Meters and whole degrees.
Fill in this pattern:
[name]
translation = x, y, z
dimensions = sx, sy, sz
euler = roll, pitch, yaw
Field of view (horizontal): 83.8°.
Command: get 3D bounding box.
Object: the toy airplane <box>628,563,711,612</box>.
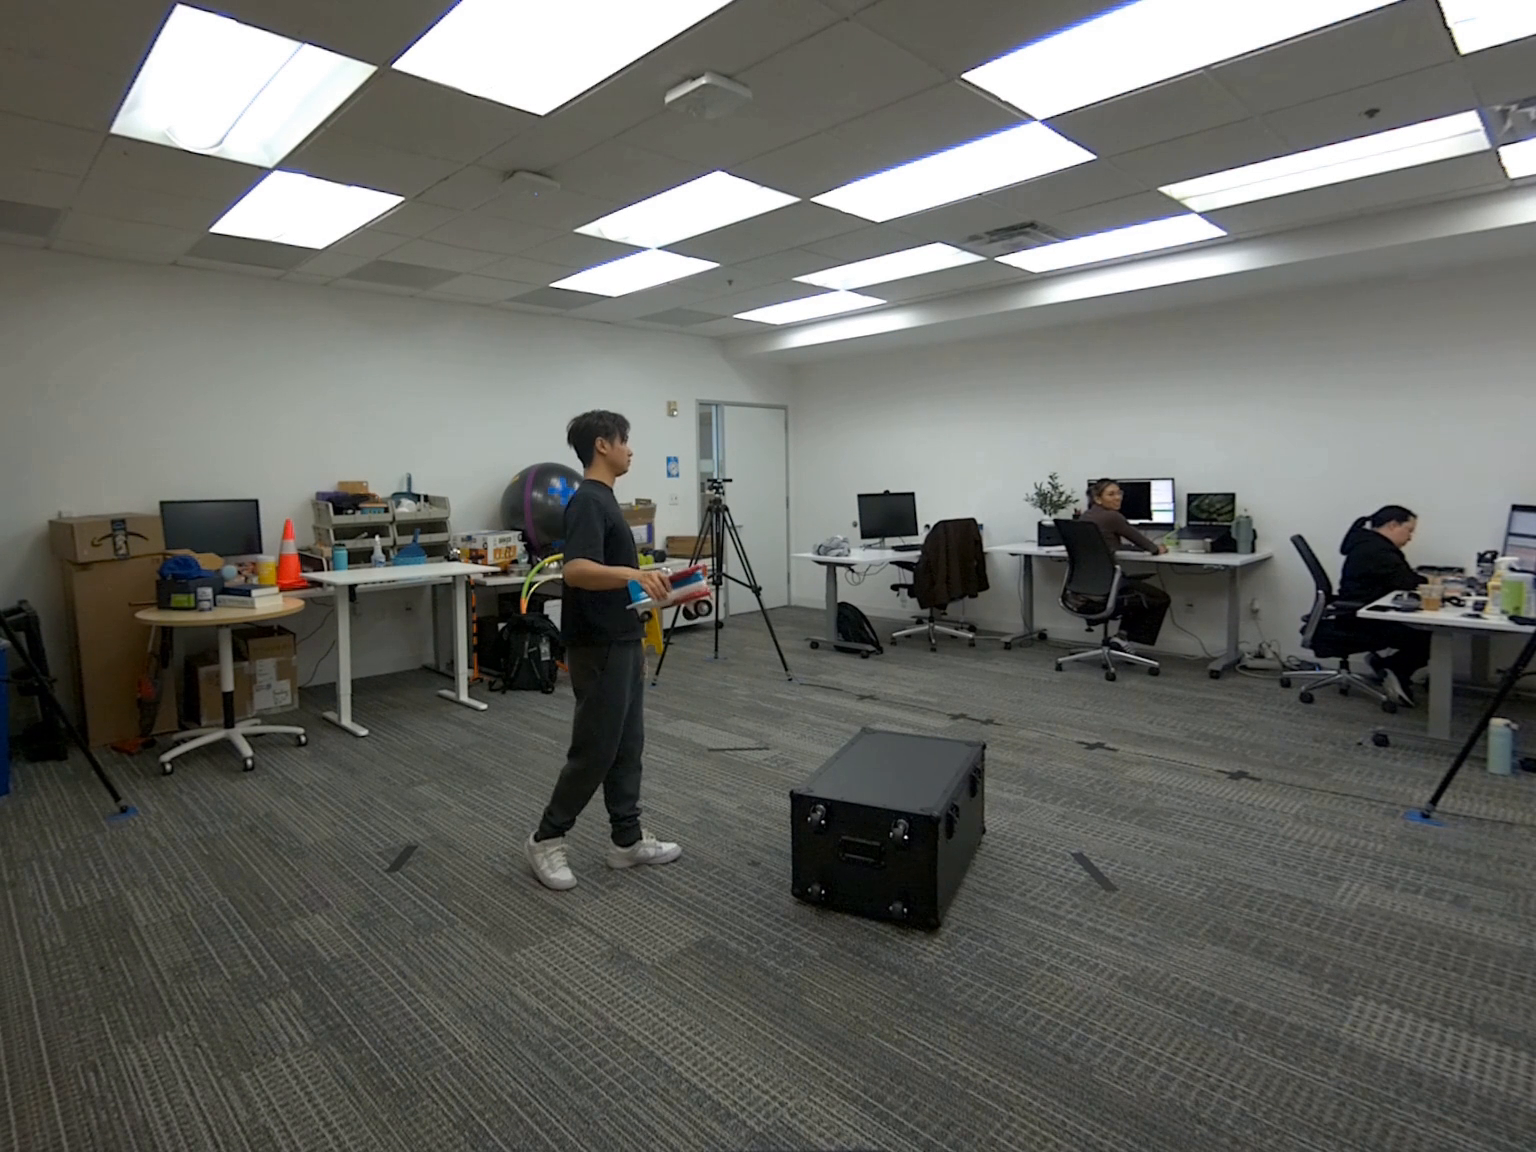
[toy airplane]
translation = -0.287, 0.049, 2.566
dimensions = 0.256, 0.158, 0.251
euler = -14, -10, 33
